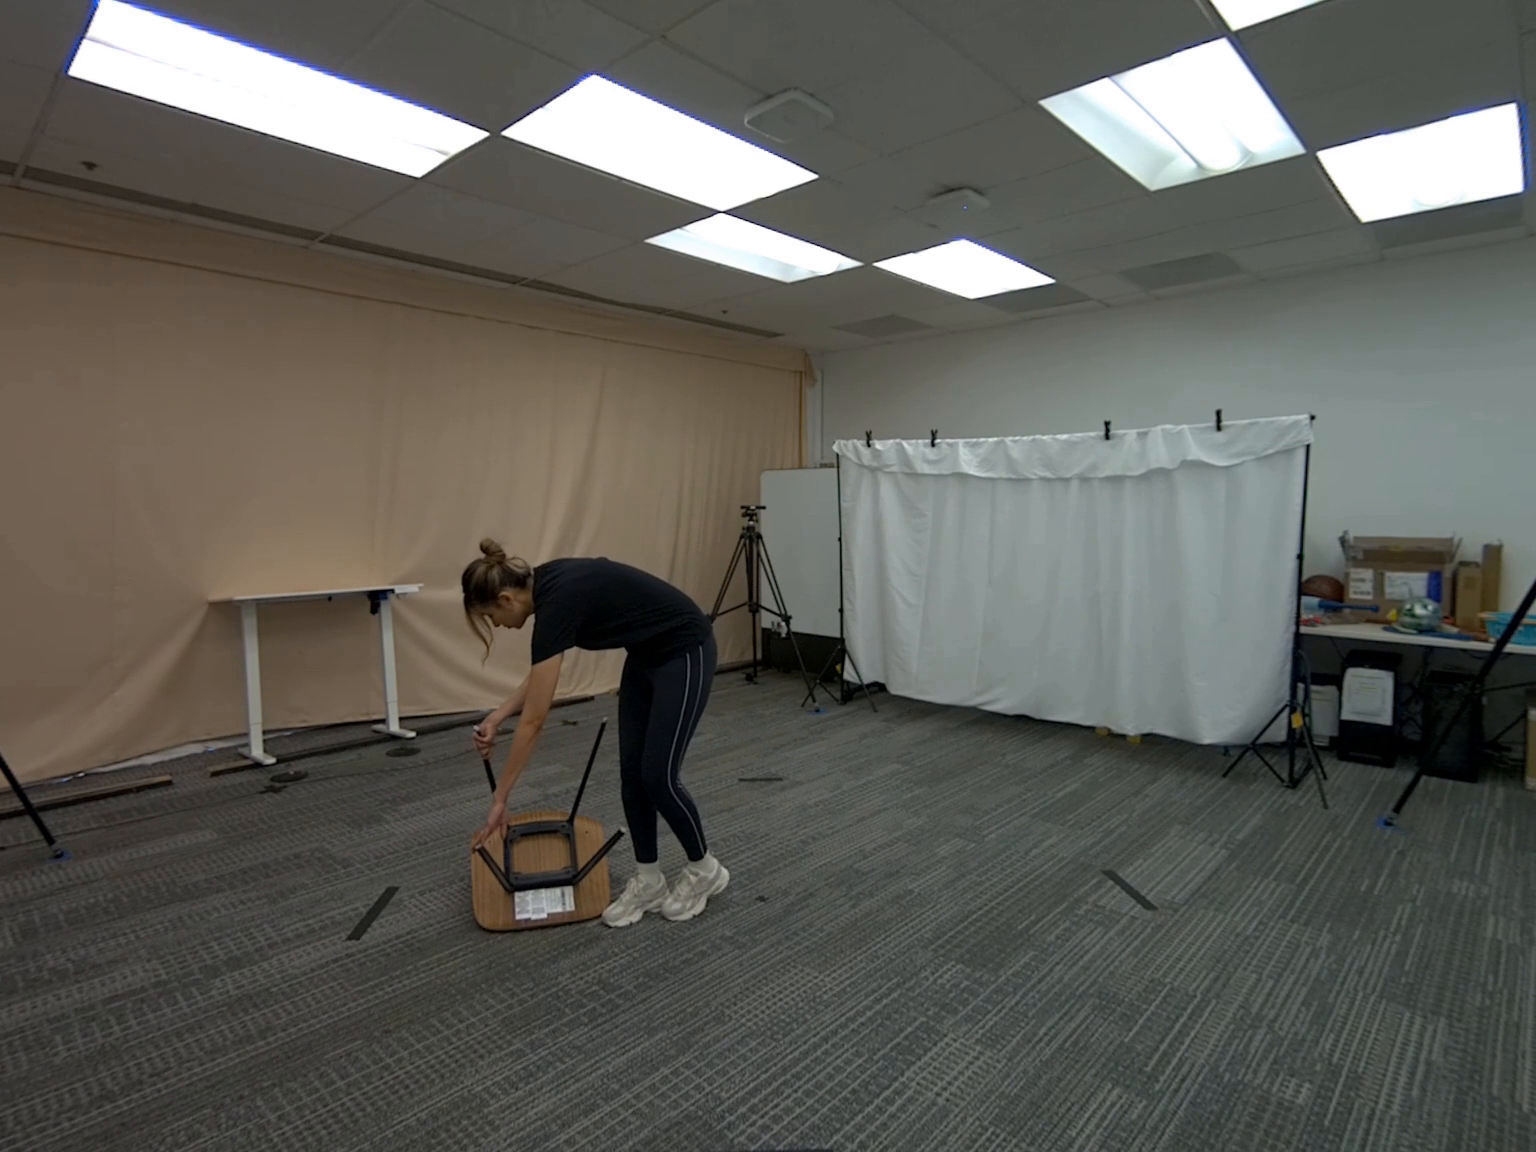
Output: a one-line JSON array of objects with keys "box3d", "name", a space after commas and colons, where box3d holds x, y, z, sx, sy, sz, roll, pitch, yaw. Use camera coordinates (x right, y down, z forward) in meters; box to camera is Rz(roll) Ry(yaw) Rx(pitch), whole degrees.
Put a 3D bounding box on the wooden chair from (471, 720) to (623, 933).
[{"box3d": [-0.804, 0.982, 2.962, 0.469, 0.869, 0.538, -1, 44, -19], "name": "wooden chair"}]
